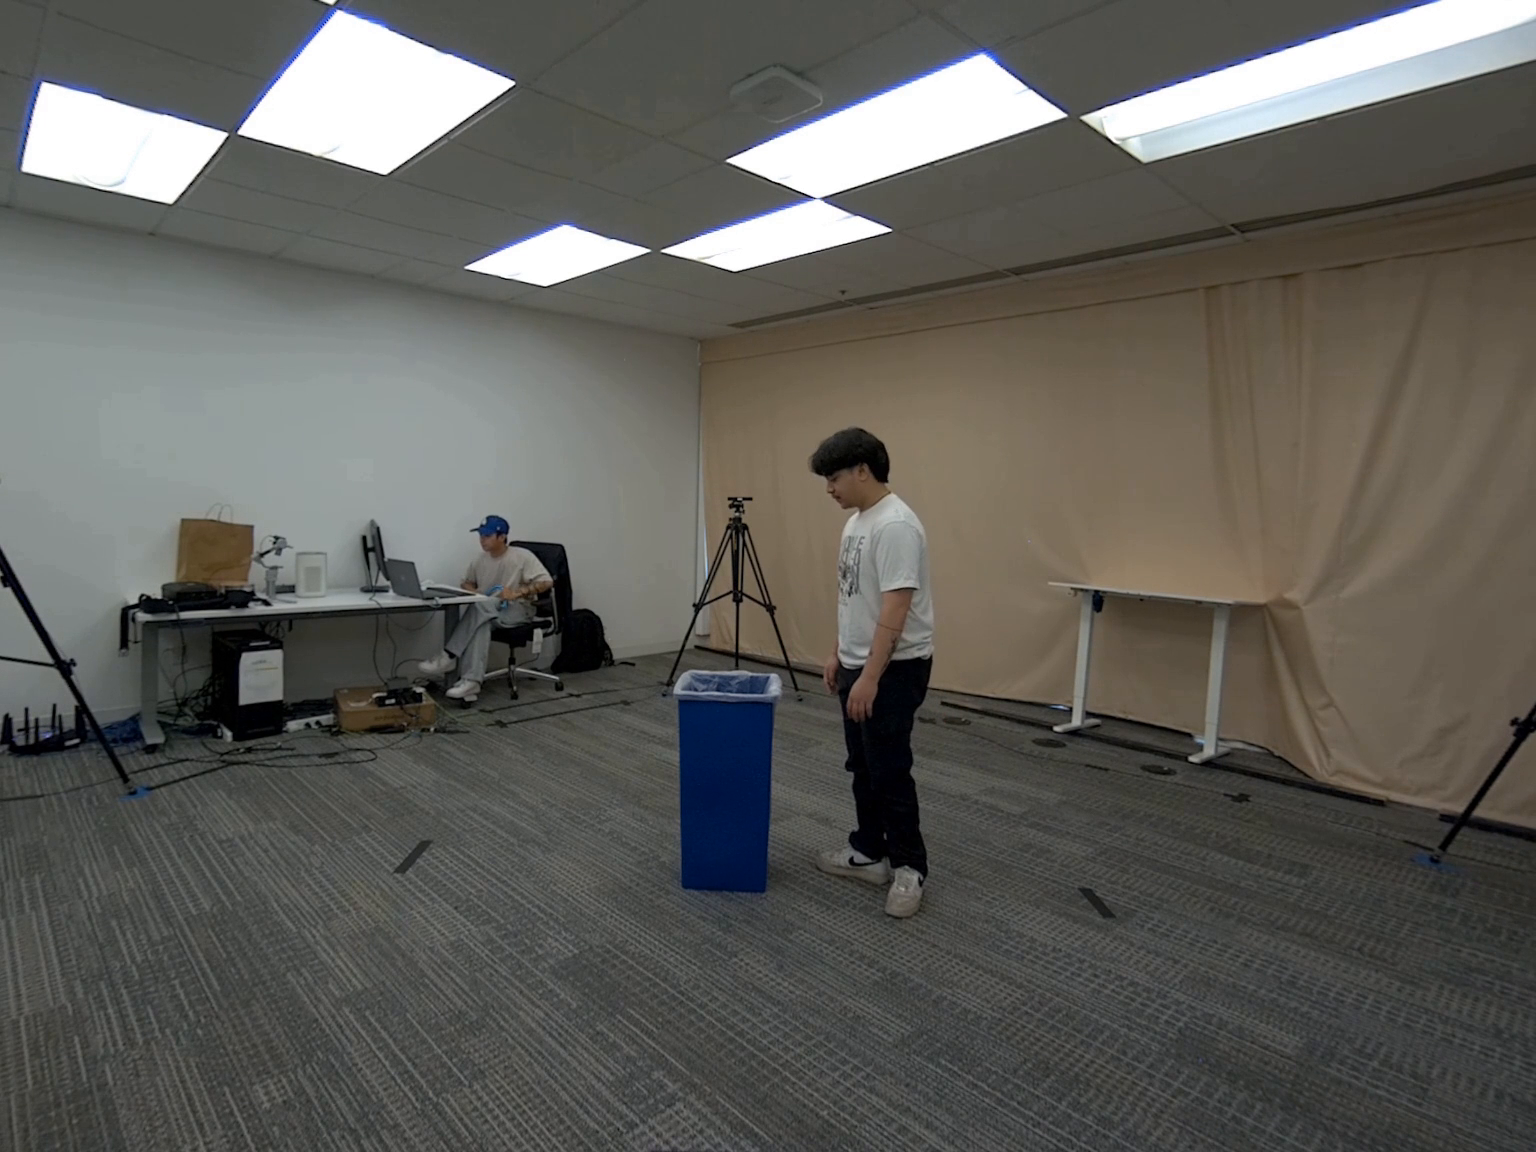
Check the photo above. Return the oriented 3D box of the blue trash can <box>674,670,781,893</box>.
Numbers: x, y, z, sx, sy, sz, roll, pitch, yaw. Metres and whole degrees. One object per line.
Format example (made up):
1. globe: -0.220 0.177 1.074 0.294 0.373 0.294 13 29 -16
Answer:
1. blue trash can: -0.154 0.747 3.112 0.375 0.712 0.378 2 3 2
